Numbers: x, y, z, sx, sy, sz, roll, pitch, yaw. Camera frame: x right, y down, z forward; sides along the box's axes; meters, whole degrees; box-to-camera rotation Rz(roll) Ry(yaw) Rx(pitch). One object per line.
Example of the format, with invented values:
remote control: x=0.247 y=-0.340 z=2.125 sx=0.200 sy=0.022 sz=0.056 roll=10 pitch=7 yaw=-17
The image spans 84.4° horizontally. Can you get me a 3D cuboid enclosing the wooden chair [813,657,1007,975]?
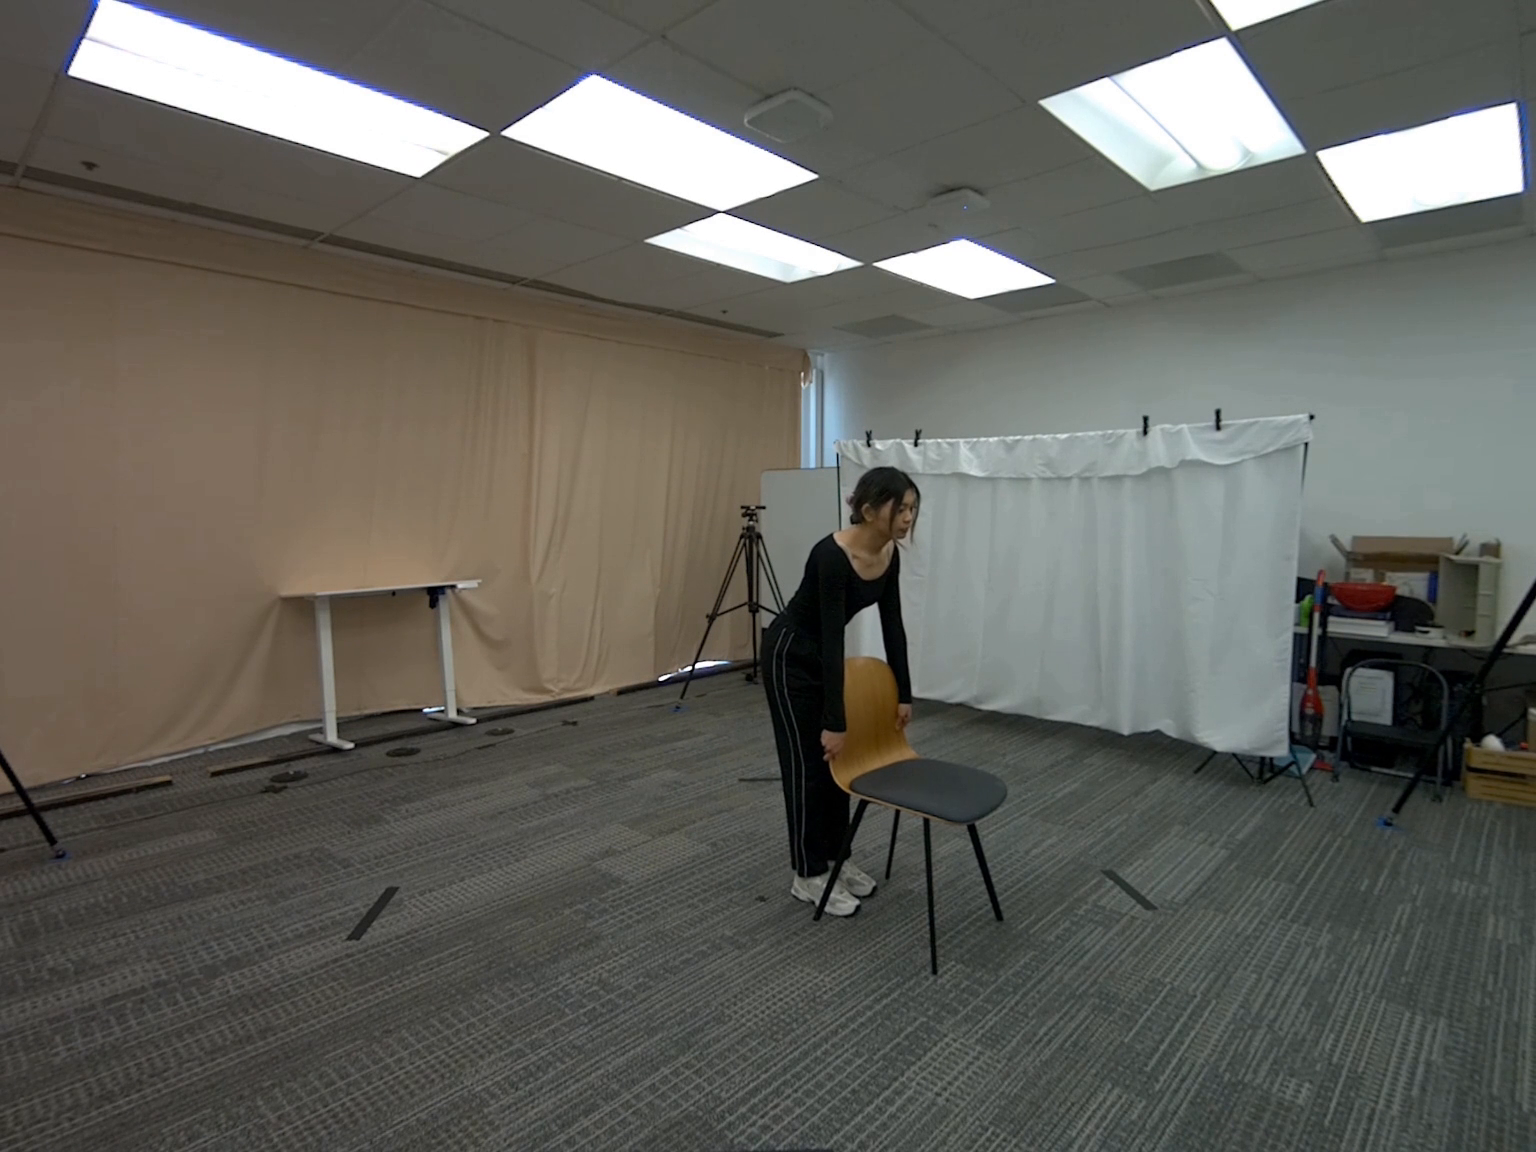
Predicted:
wooden chair: x=0.490 y=0.727 z=2.768 sx=0.539 sy=0.877 sz=0.463 roll=-2 pitch=1 yaw=42
